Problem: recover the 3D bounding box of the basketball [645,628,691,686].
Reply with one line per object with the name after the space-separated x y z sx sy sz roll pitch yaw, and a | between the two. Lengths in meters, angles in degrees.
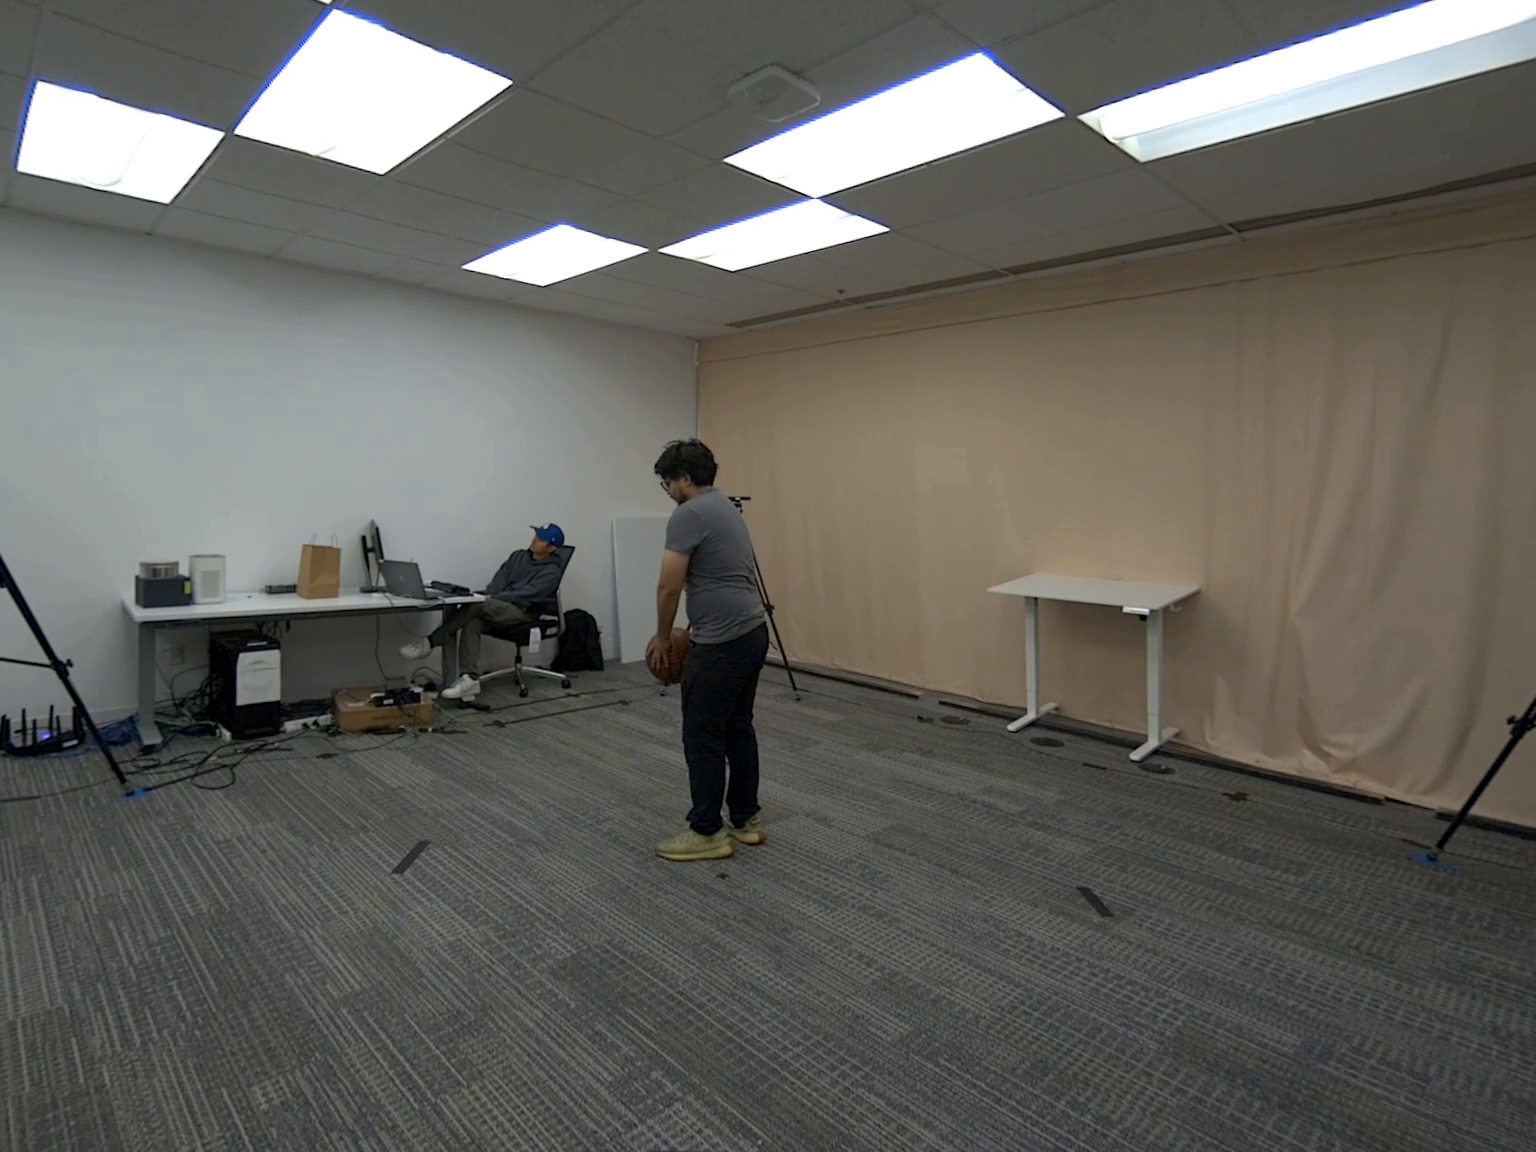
-0.401 0.329 3.563 0.236 0.235 0.237 1 4 -1 | basketball
